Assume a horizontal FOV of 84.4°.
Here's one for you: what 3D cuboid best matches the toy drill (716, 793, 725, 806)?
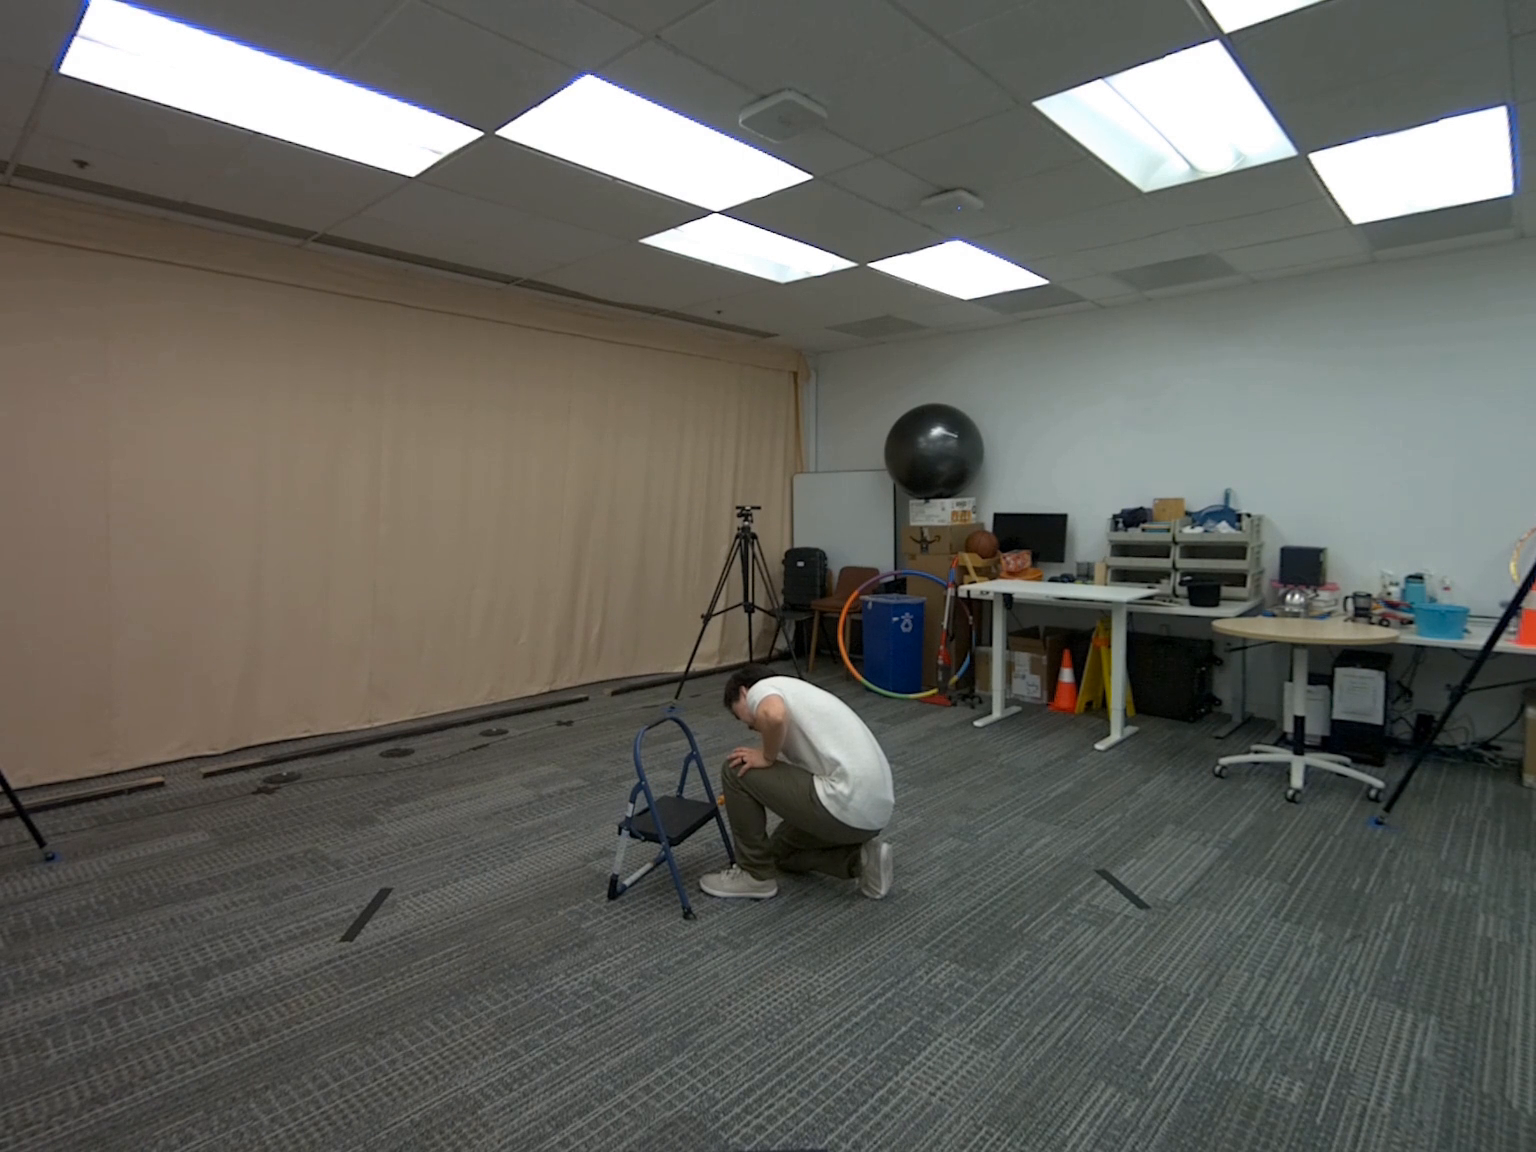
[{"bbox_3d":[-0.126,0.895,3.302,0.149,0.061,0.166,27,19,19],"label":"toy drill"}]
